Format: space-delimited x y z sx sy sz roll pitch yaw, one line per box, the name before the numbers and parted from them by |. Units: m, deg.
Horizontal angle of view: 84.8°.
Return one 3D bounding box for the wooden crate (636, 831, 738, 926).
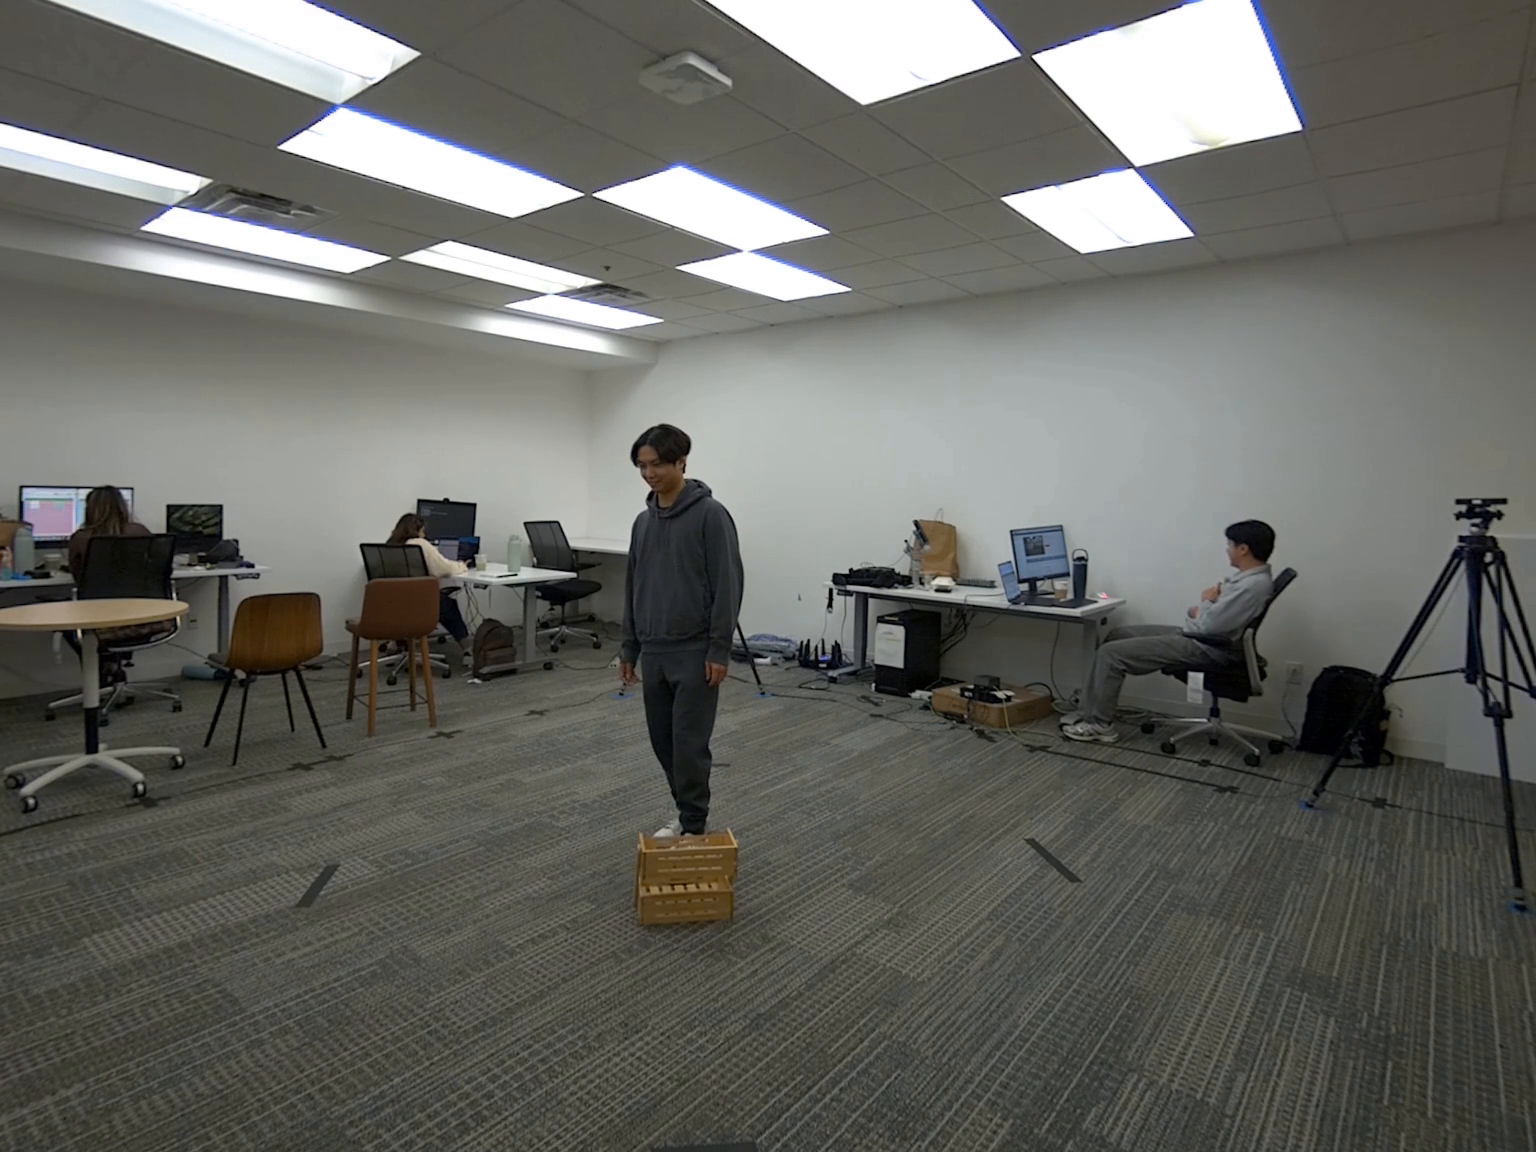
wooden crate | -0.290 0.960 2.816 0.320 0.272 0.307 1 4 -12
